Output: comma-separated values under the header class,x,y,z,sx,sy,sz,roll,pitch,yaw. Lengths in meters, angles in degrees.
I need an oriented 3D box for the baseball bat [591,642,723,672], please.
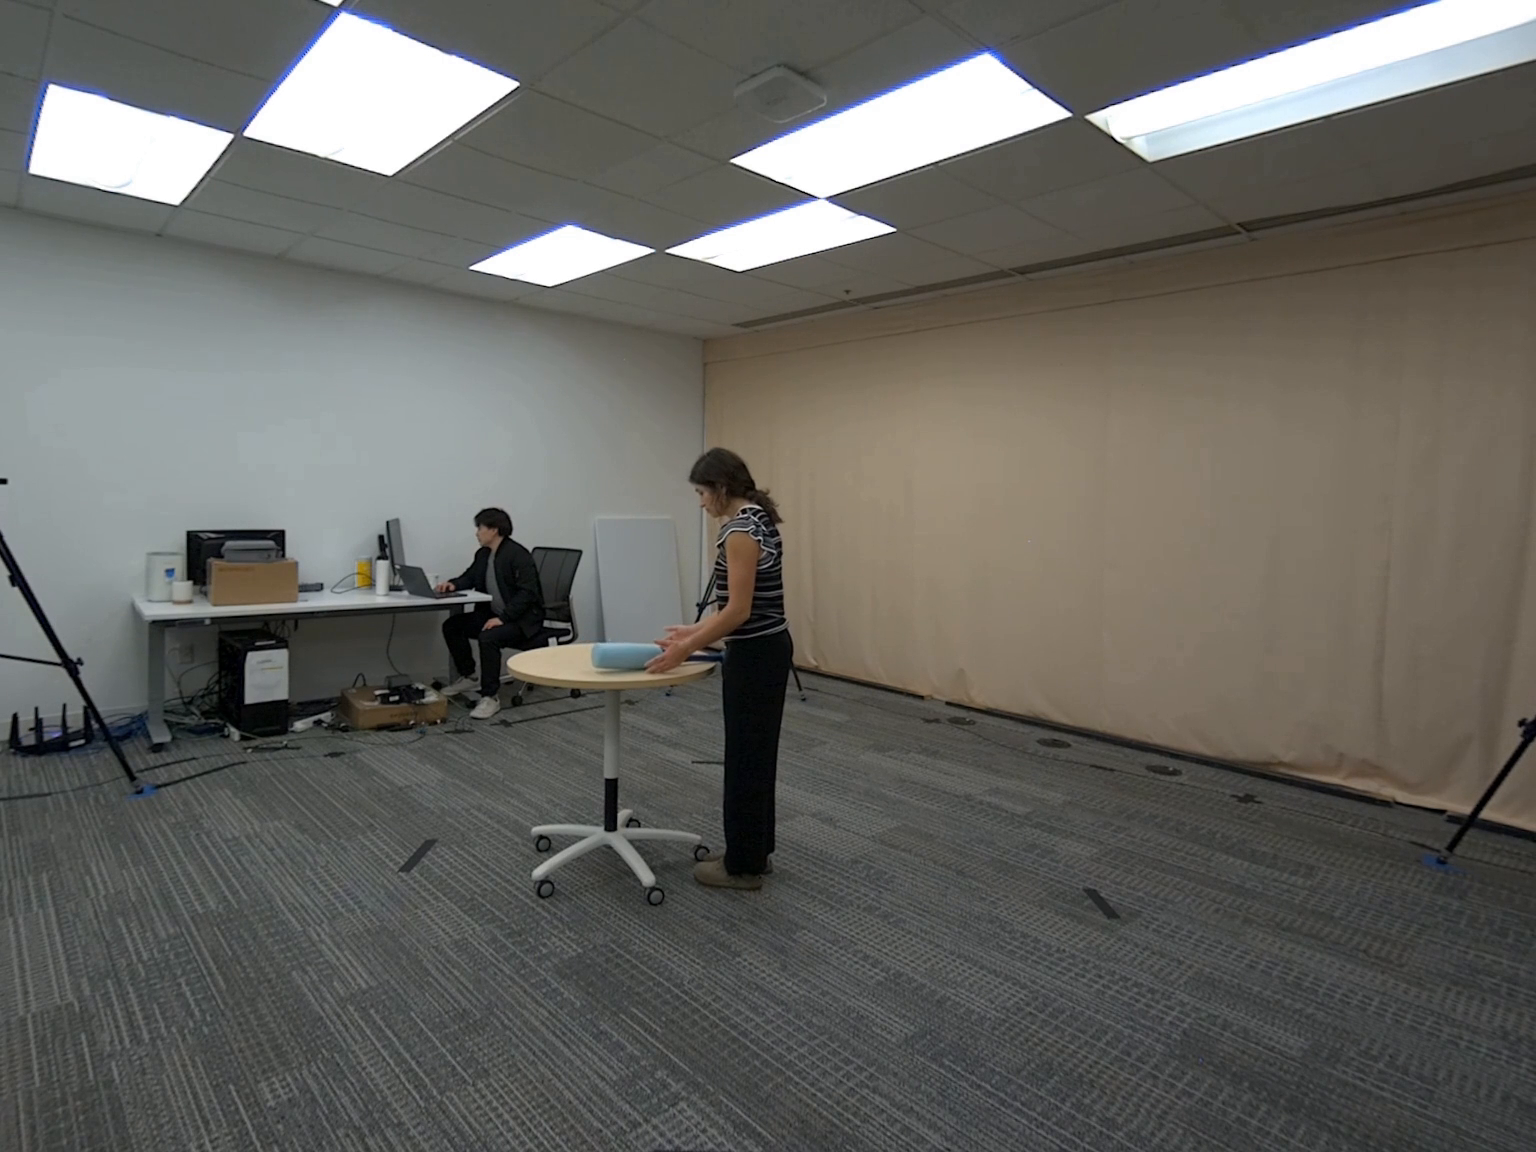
class,x,y,z,sx,sy,sz,roll,pitch,yaw
baseball bat,-0.369,0.289,3.002,0.531,0.089,0.091,4,2,-30
